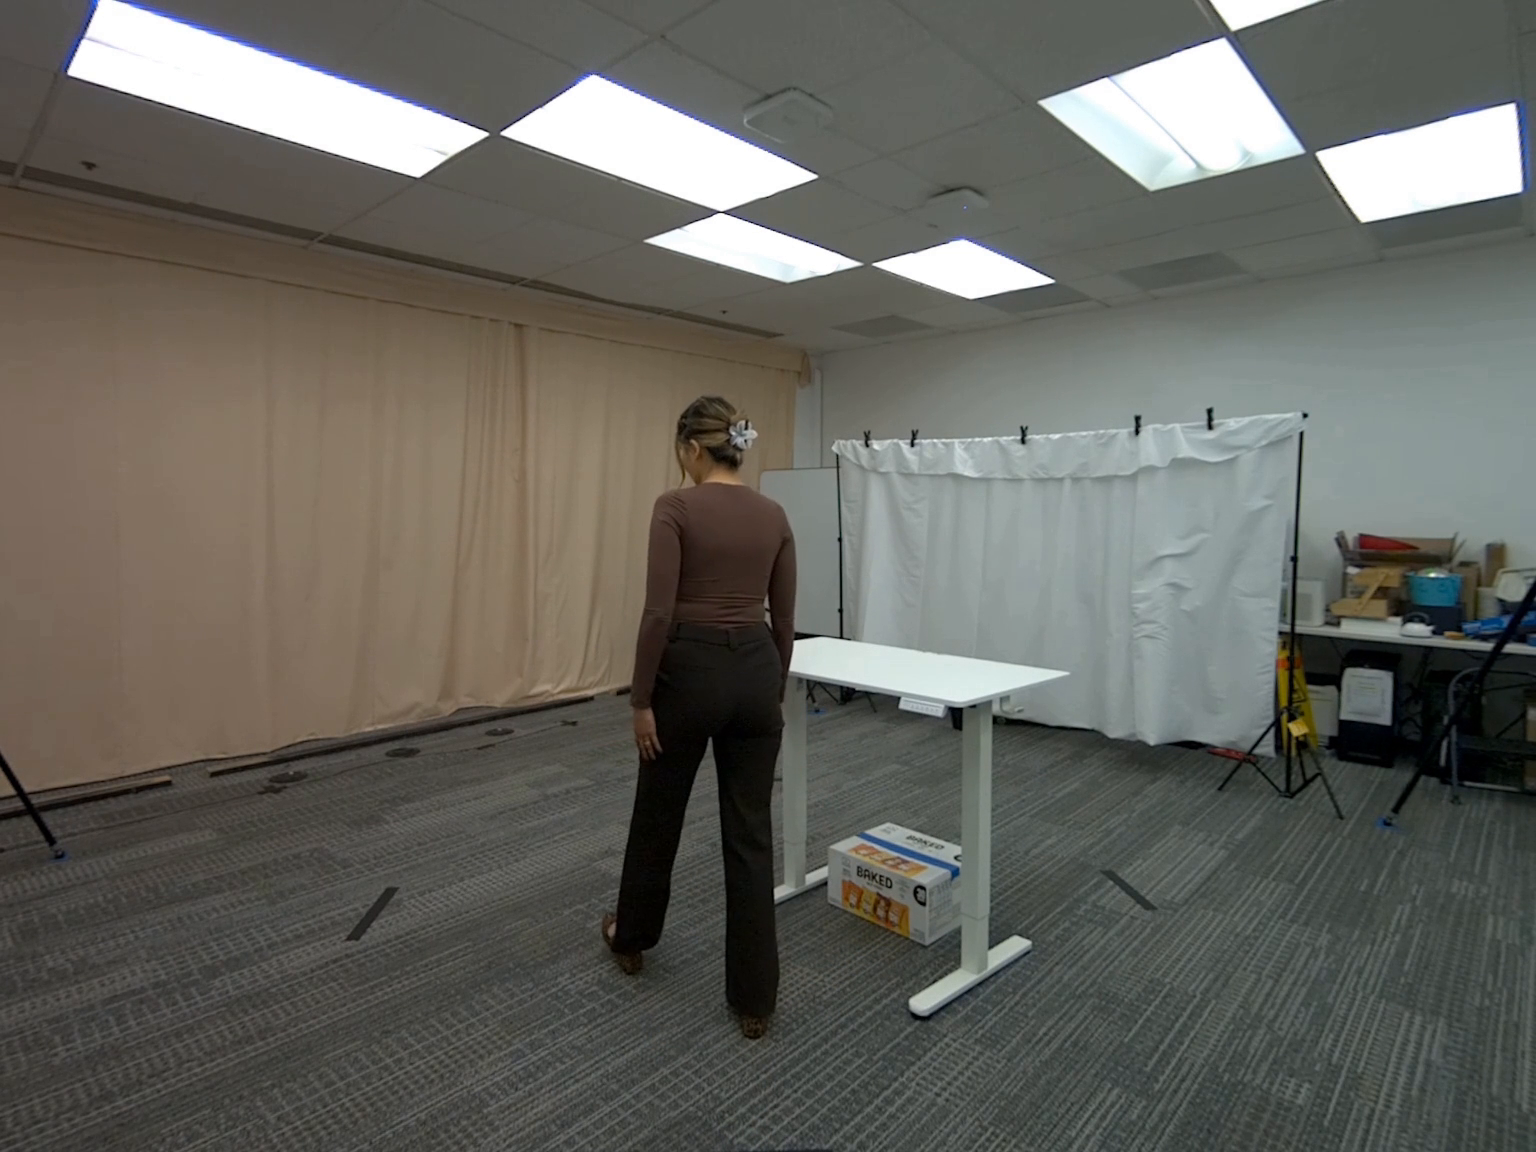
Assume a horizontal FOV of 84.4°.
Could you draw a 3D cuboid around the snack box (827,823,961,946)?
[{"bbox_3d":[0.480,1.049,2.903,0.330,0.205,0.419,-5,6,-44],"label":"snack box"}]
